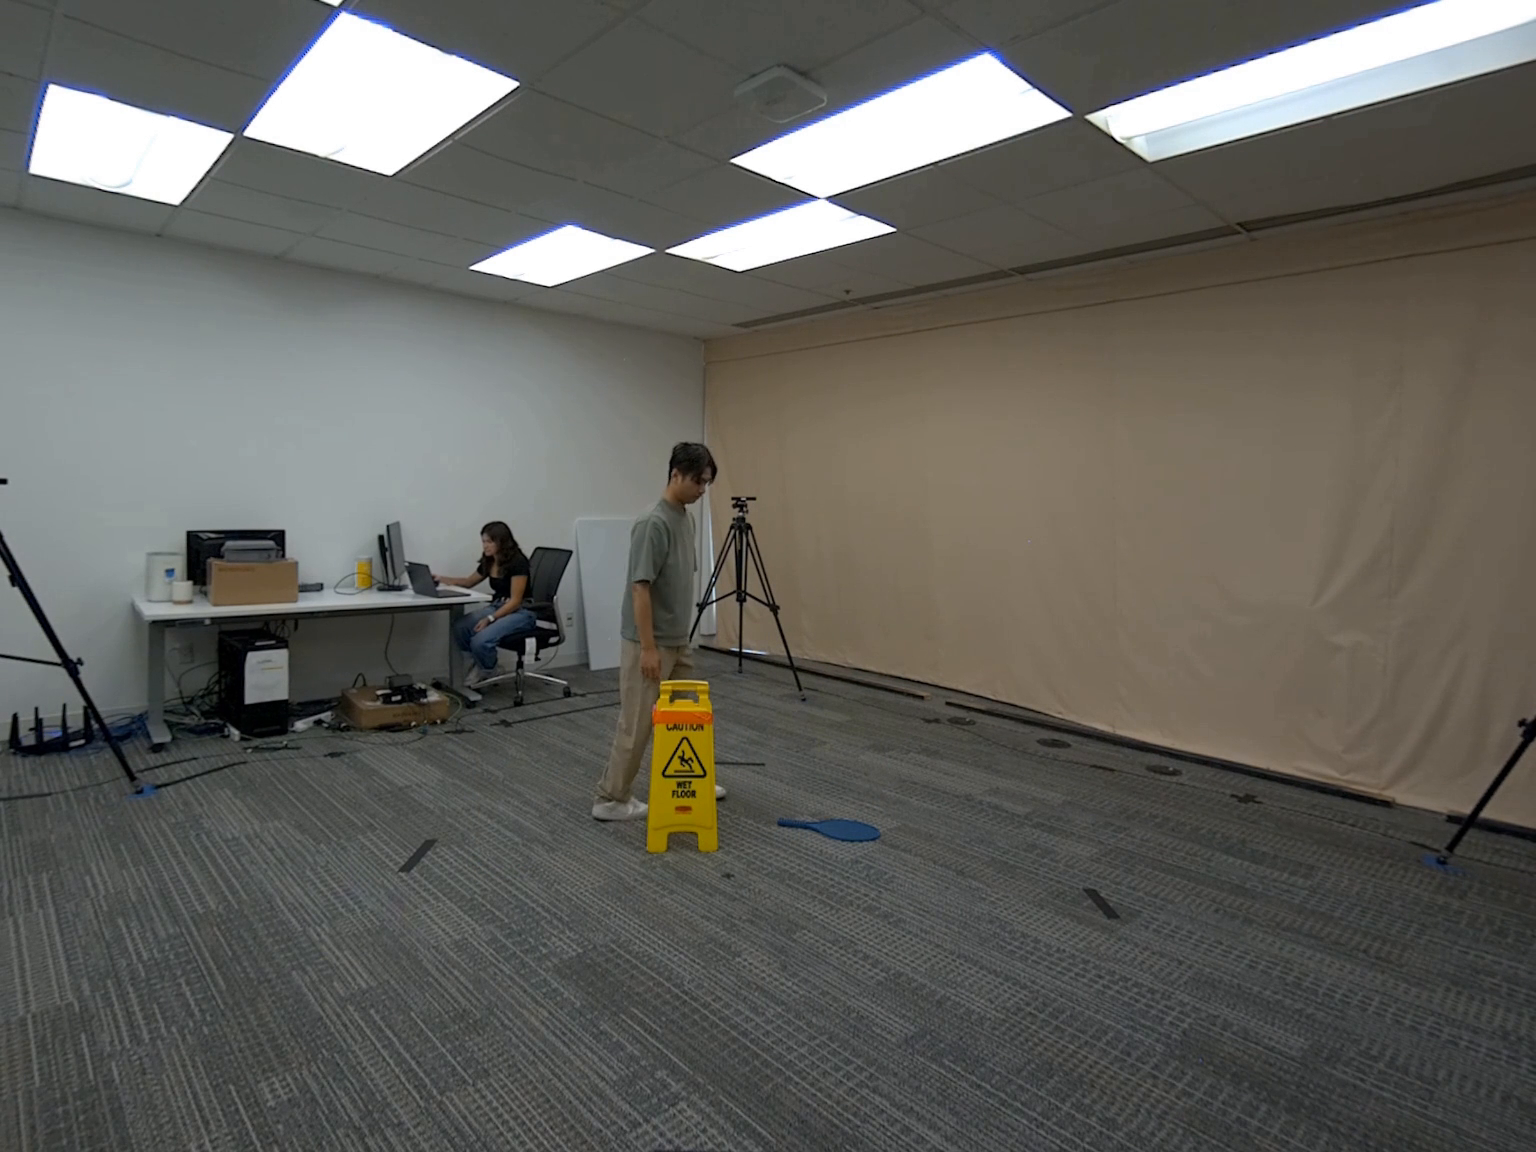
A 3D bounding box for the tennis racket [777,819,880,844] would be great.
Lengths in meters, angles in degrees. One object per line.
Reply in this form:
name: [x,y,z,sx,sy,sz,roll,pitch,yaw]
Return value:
tennis racket: [0.252,1.069,3.563,0.436,0.031,0.213,3,6,8]
